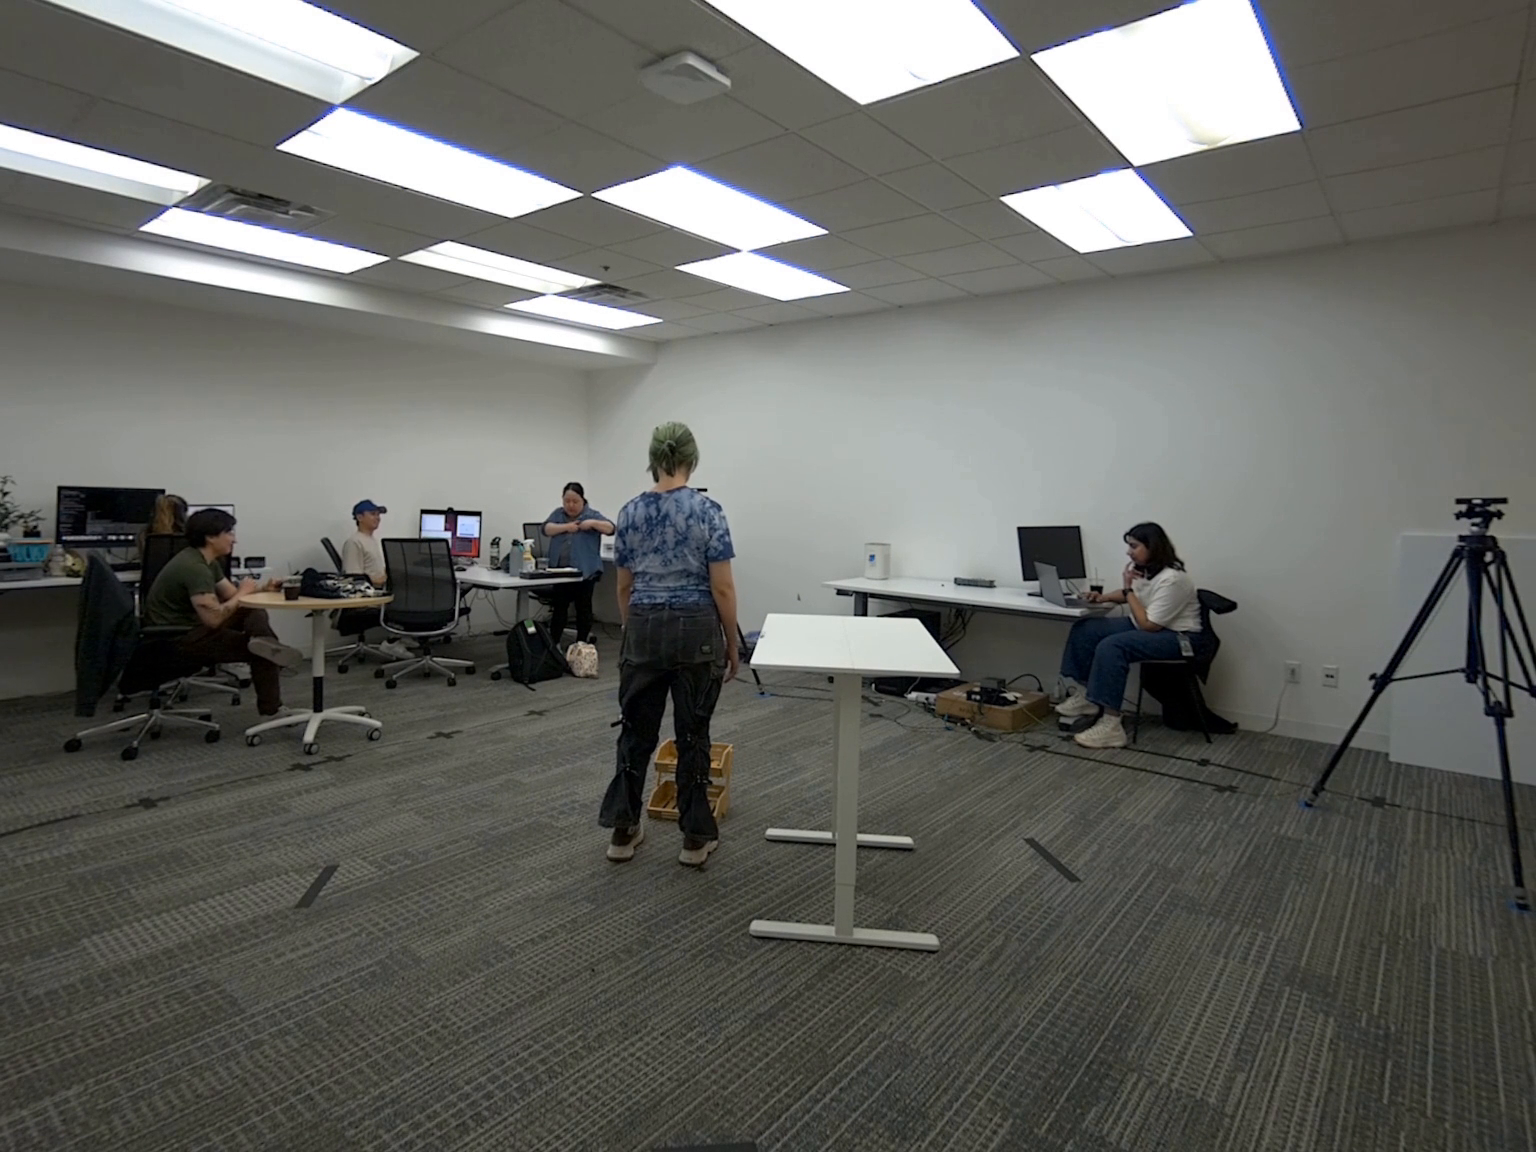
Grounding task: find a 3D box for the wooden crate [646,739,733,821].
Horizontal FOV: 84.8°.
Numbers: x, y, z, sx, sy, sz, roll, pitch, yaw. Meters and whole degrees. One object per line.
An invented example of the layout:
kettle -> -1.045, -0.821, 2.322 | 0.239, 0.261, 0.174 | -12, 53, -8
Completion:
wooden crate -> -0.340, 0.878, 3.668 | 0.329, 0.272, 0.299 | 1, 4, 13
